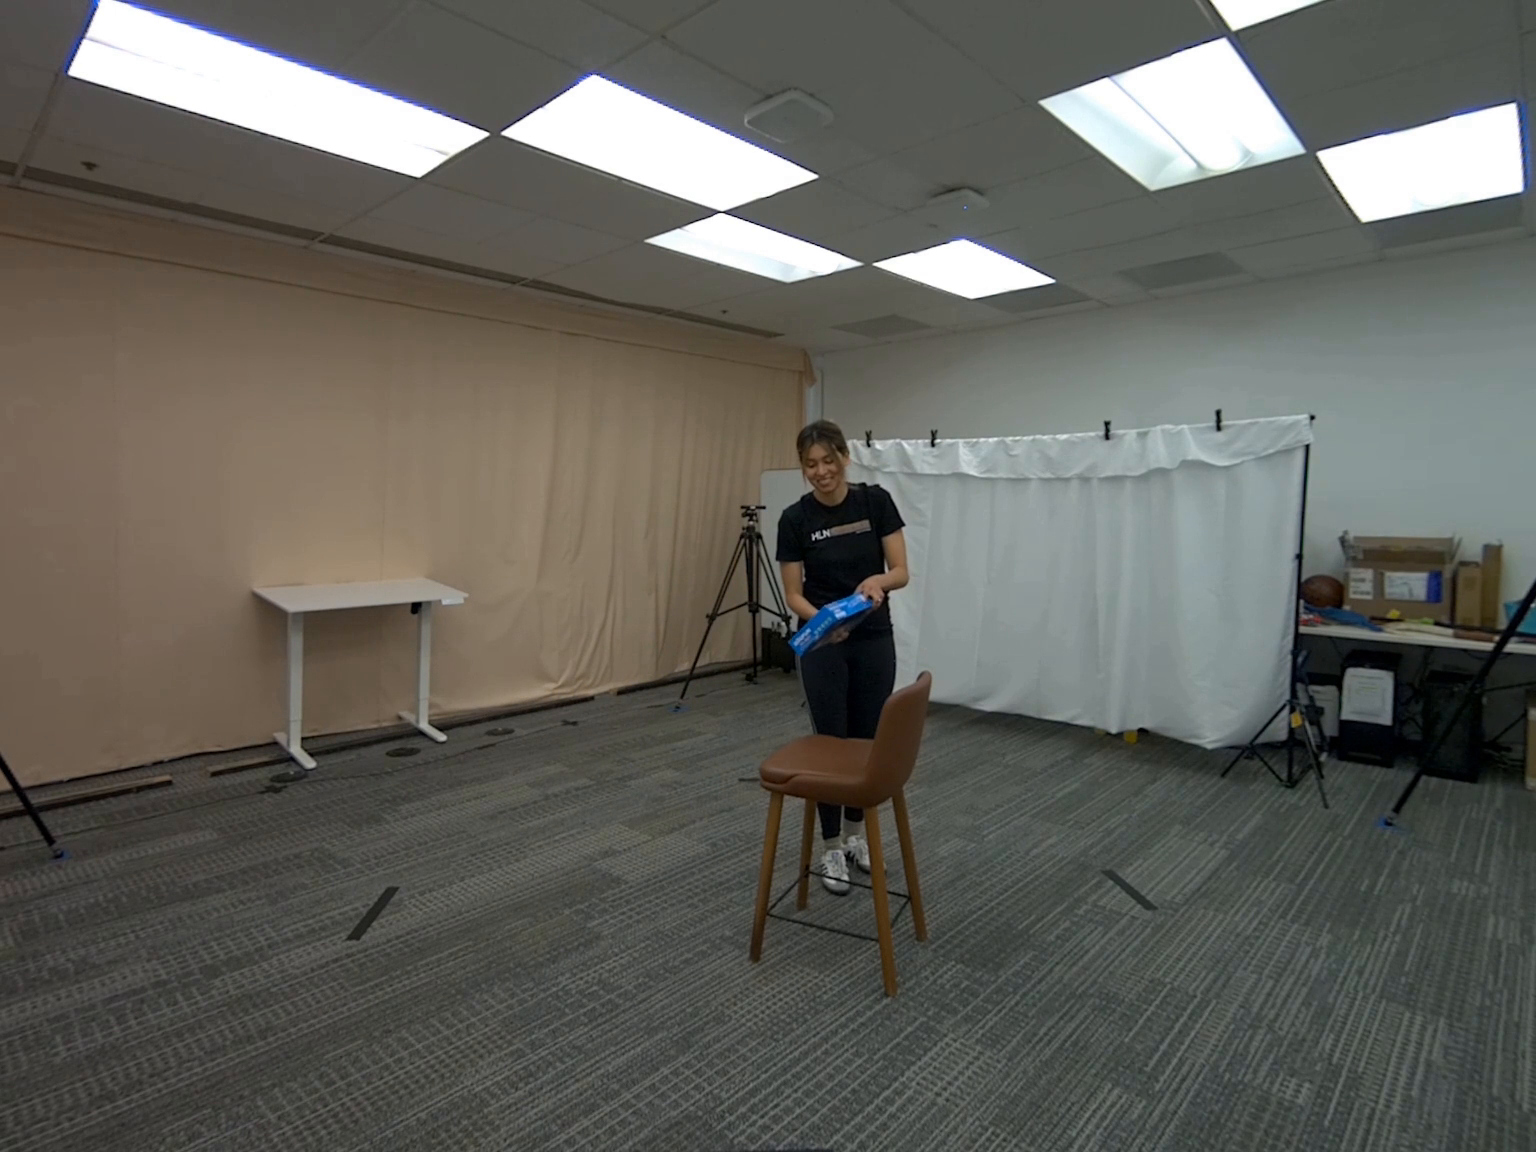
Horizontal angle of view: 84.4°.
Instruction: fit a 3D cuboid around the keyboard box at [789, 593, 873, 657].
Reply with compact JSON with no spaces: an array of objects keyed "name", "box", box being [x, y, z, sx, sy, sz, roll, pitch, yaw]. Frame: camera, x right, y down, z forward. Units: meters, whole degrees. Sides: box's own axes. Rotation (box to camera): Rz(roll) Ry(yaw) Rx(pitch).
[{"name":"keyboard box","box":[0.220,0.146,2.695,0.177,0.060,0.427,-46,-14,22]}]
